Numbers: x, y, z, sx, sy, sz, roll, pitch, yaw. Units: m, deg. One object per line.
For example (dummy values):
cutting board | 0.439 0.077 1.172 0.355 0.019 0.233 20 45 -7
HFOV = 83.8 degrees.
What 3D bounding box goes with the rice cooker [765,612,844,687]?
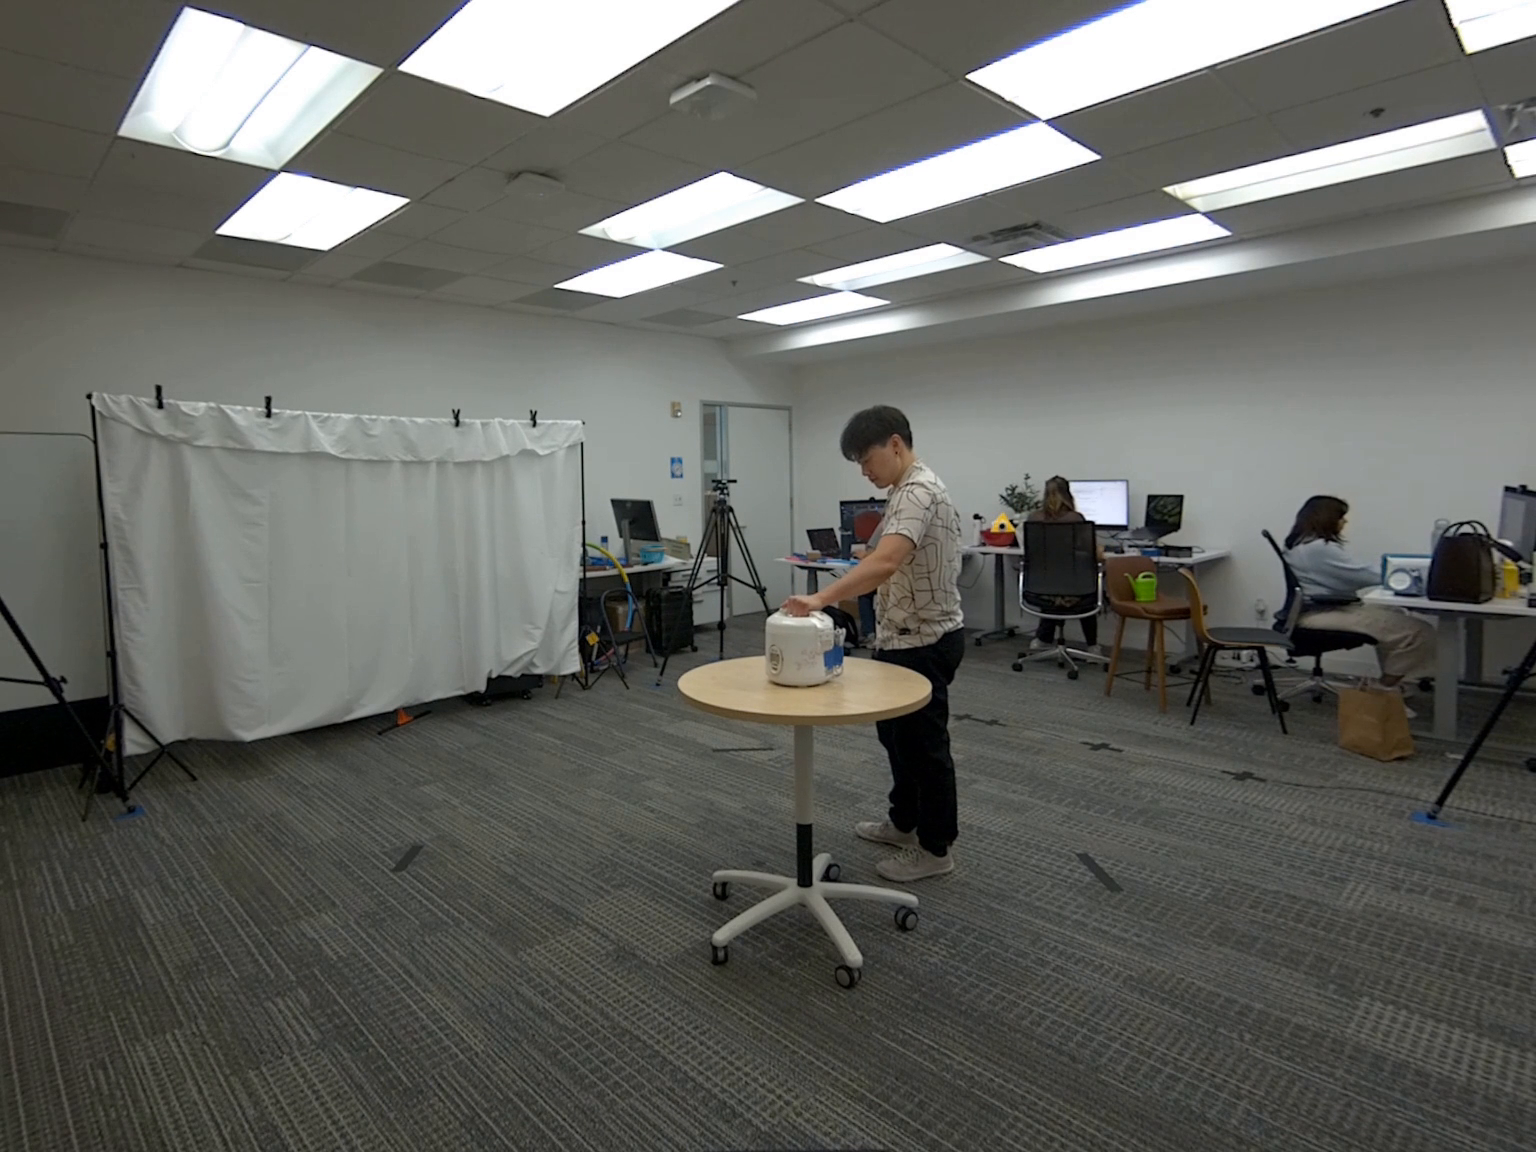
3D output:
rice cooker | 0.099 0.207 2.597 0.211 0.232 0.227 -4 6 -42
